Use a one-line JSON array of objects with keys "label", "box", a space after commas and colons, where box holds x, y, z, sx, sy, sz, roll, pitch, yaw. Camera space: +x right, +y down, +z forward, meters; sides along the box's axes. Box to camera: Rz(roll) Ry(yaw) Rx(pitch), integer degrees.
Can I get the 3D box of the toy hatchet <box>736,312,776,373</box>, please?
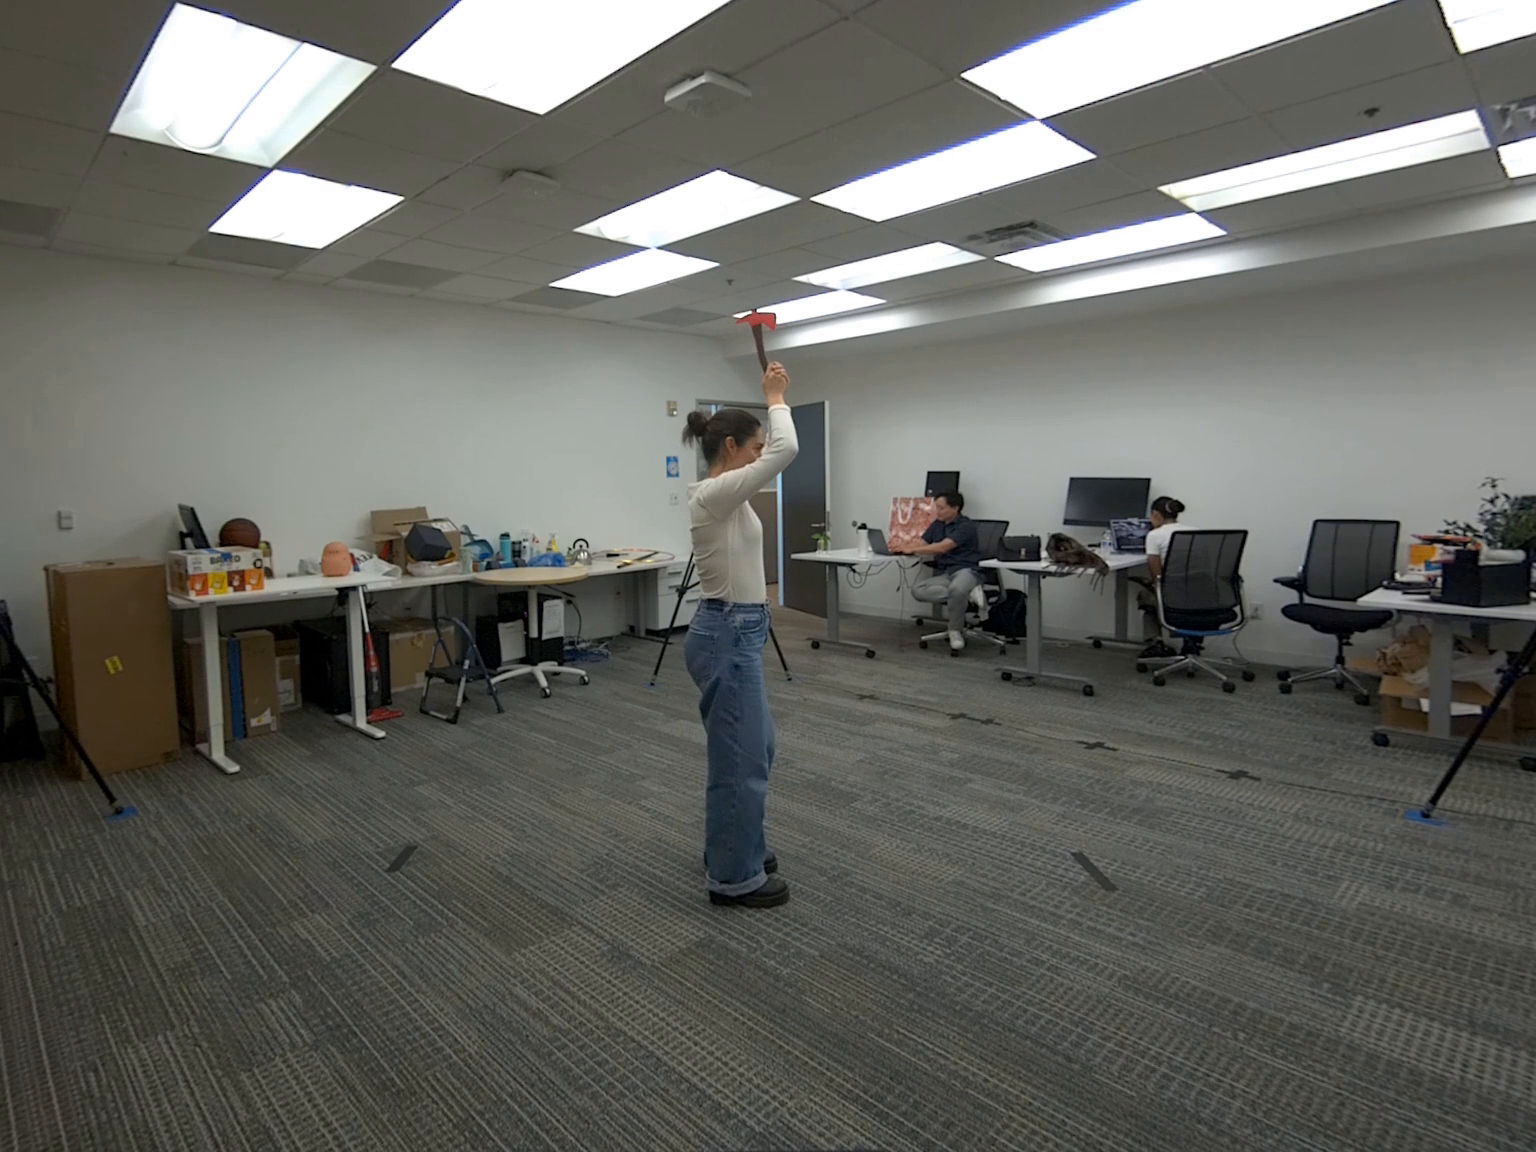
[{"label": "toy hatchet", "box": [0.012, -0.747, 2.779, 0.132, 0.266, 0.030, -27, 10, 13]}]
